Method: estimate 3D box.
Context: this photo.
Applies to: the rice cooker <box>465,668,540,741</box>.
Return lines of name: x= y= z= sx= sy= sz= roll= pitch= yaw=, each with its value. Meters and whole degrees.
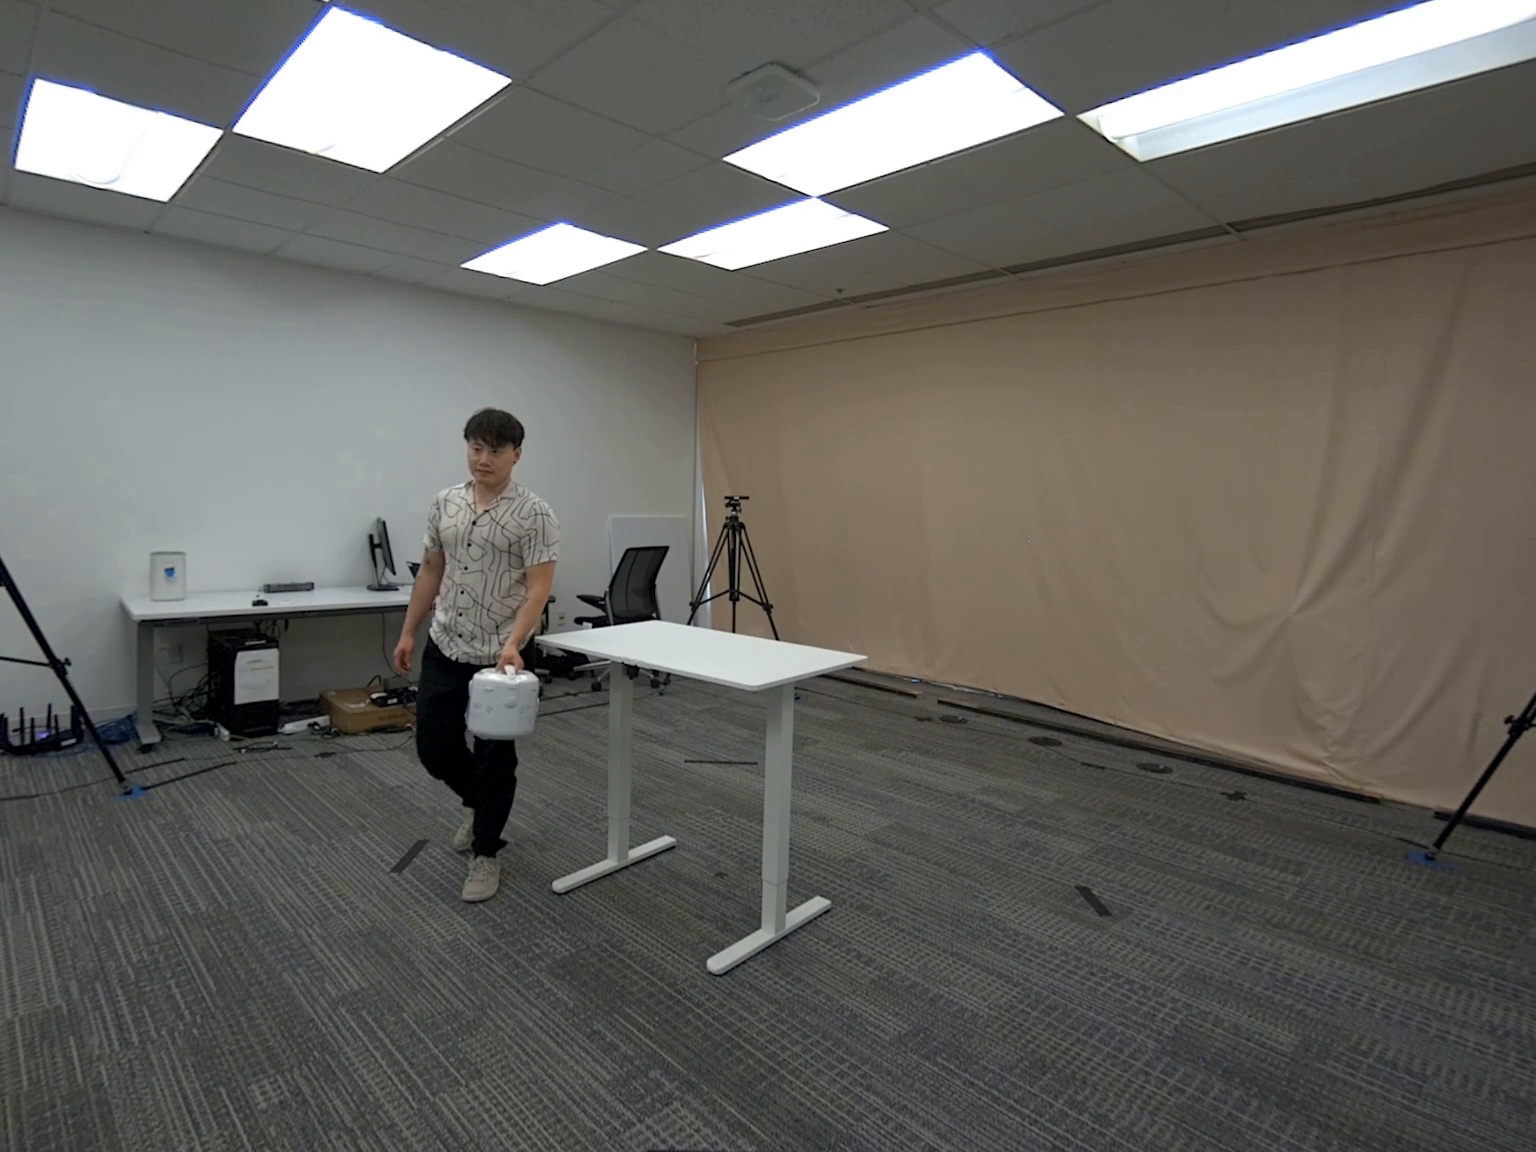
rice cooker: x=-0.857 y=0.396 z=2.732 sx=0.213 sy=0.233 sz=0.225 roll=5 pitch=-2 yaw=-27
